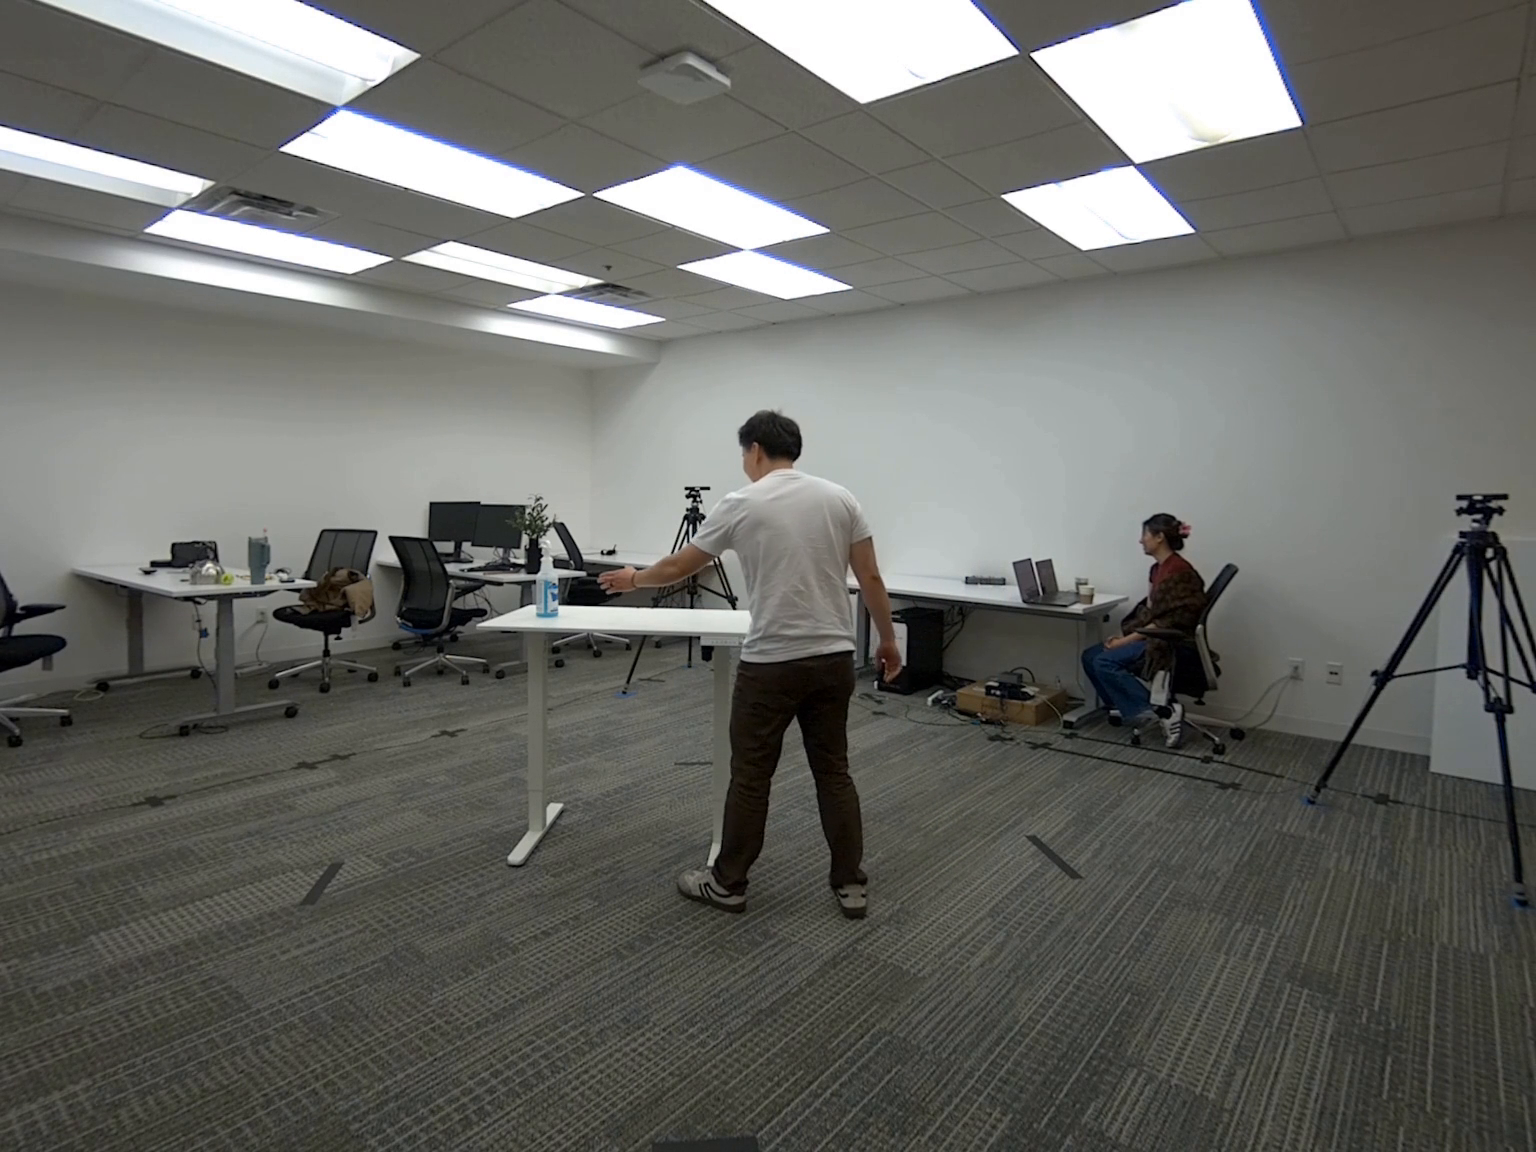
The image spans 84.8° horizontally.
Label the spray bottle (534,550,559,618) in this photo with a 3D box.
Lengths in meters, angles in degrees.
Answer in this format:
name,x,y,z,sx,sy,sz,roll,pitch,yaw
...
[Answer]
name,x,y,z,sx,sy,sz,roll,pitch,yaw
spray bottle,-0.878,0.008,3.329,0.086,0.297,0.091,0,2,-7
